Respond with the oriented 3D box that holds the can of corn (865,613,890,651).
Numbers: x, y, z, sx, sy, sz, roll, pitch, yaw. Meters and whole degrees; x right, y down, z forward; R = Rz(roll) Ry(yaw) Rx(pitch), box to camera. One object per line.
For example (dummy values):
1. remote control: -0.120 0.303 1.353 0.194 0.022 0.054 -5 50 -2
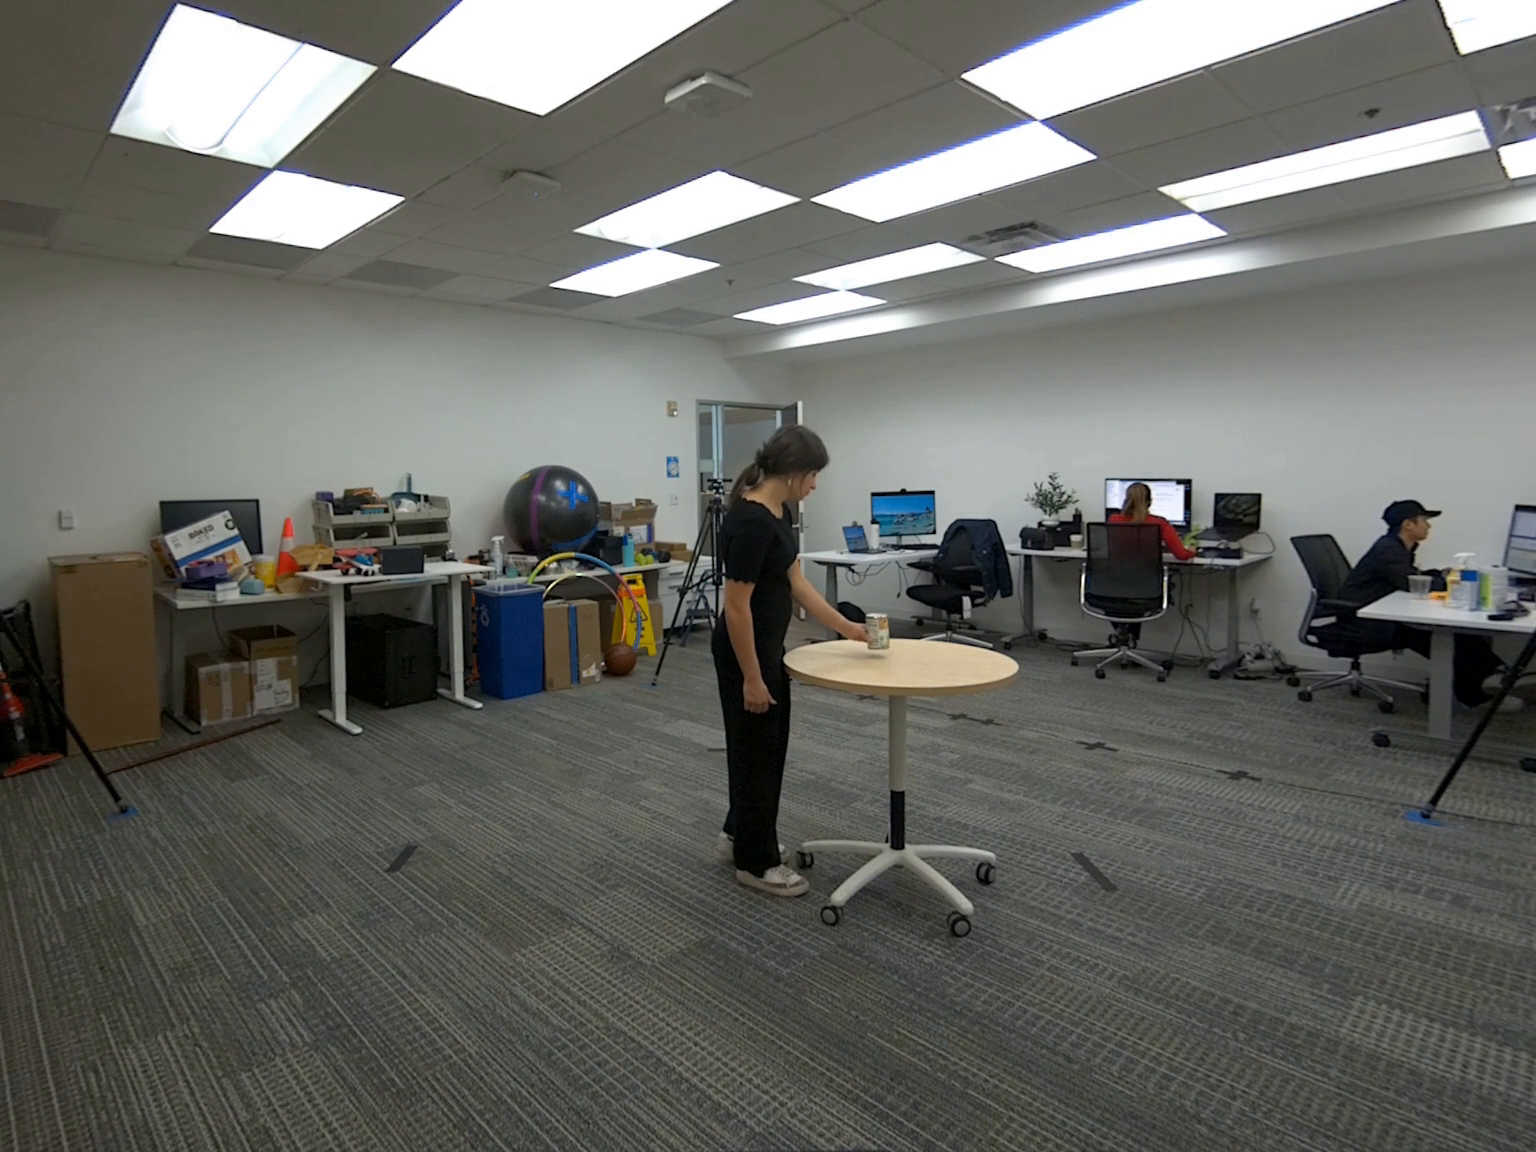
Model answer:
1. can of corn: 0.369 0.192 2.910 0.074 0.111 0.074 -4 3 -1
